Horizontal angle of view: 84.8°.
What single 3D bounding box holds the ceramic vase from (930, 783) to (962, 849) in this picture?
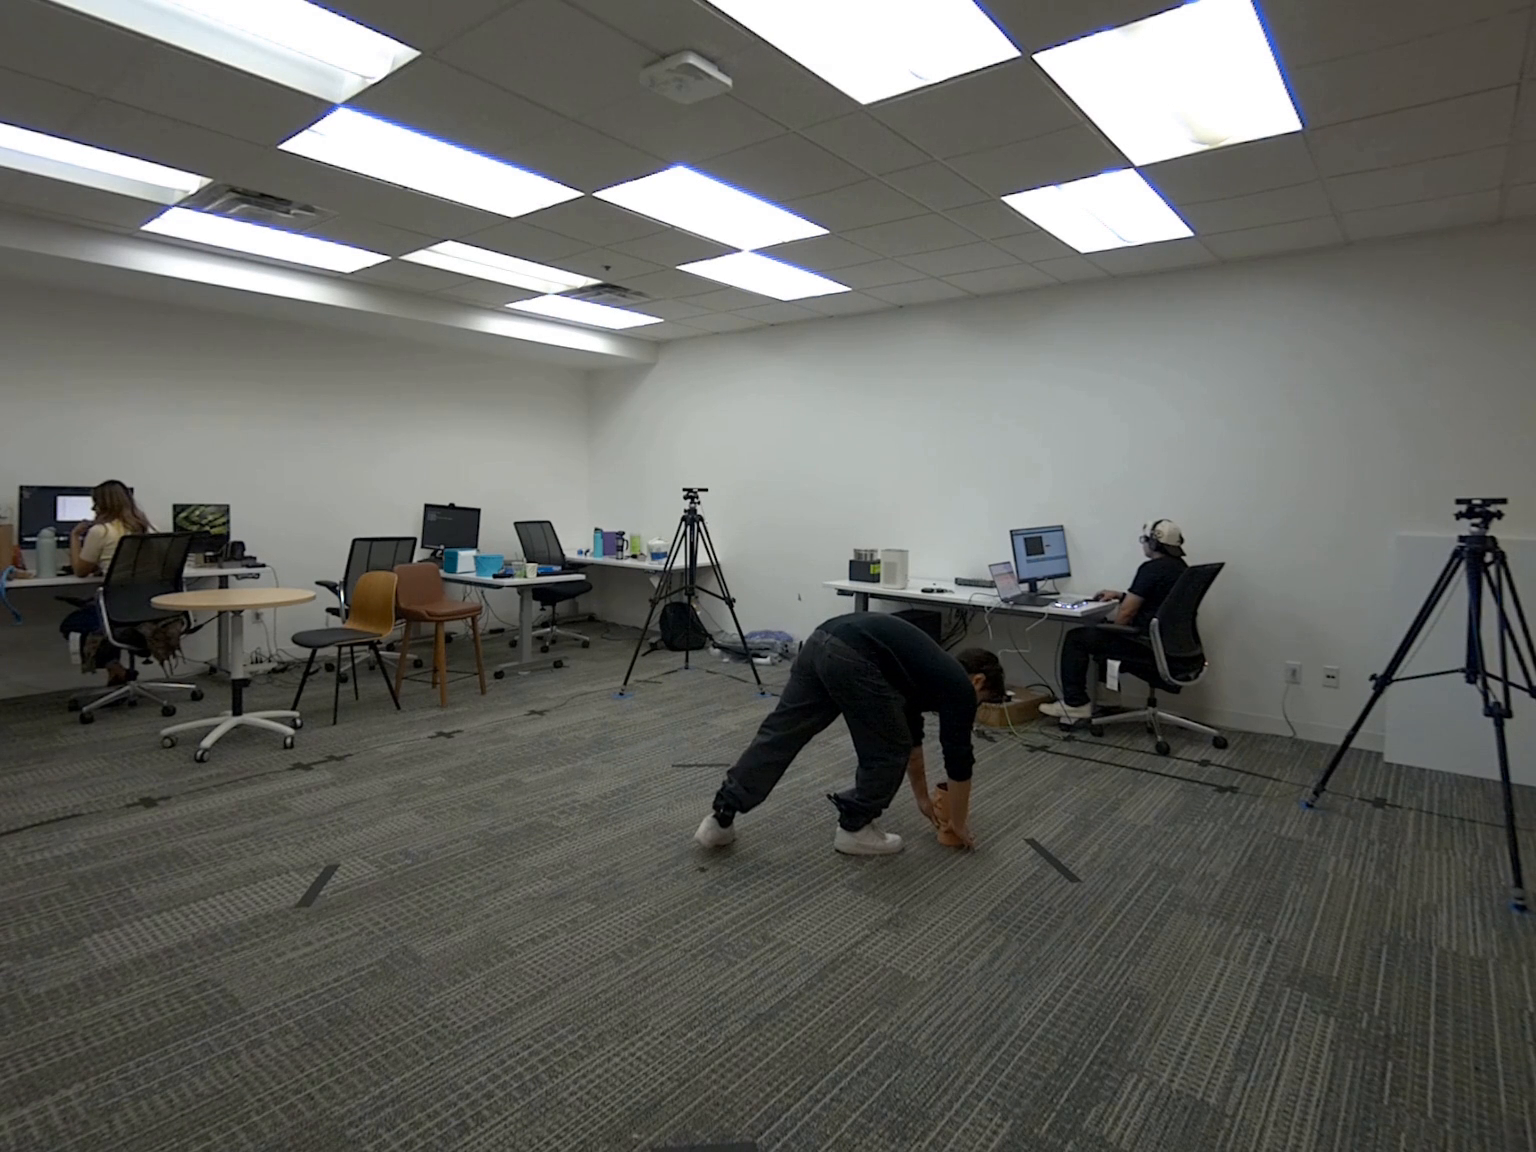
[{"bbox_3d":[0.723,0.952,3.413,0.160,0.219,0.134,2,2,5],"label":"ceramic vase"}]
